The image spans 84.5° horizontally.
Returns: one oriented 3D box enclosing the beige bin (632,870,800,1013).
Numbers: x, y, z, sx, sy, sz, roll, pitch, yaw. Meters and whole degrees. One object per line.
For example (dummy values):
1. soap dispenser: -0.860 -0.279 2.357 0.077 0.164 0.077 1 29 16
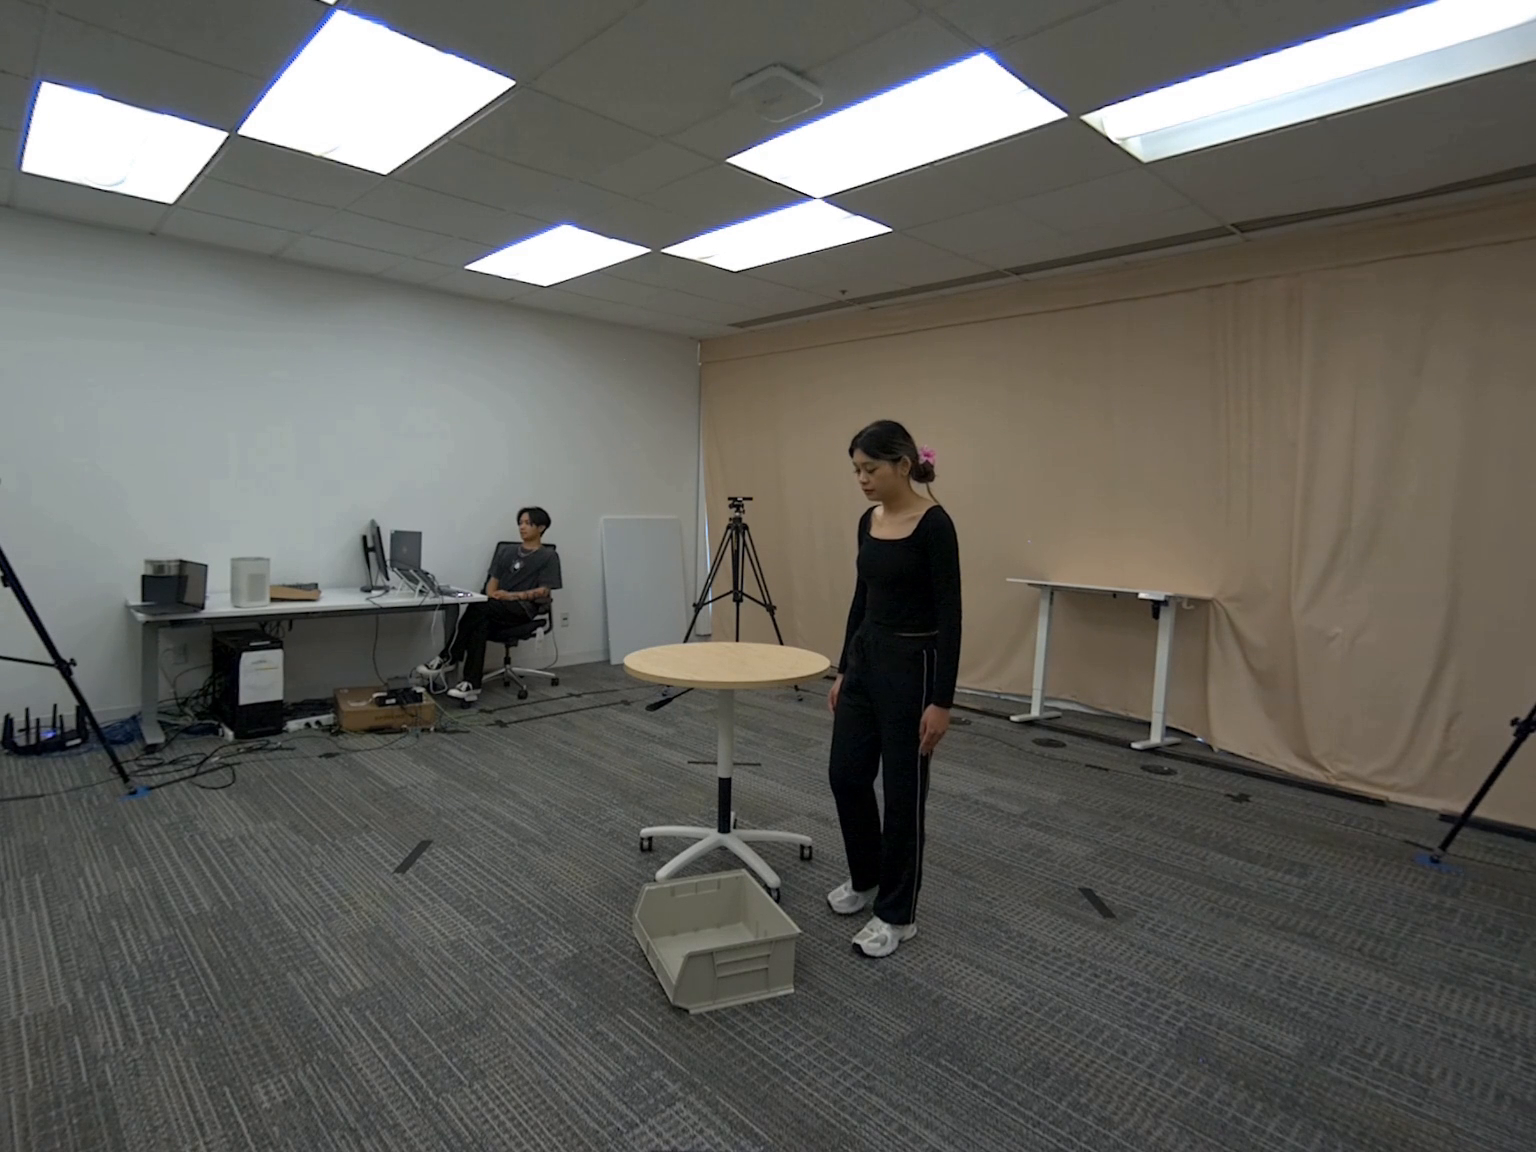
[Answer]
1. beige bin: -0.169 1.073 2.497 0.371 0.188 0.430 0 4 -23
